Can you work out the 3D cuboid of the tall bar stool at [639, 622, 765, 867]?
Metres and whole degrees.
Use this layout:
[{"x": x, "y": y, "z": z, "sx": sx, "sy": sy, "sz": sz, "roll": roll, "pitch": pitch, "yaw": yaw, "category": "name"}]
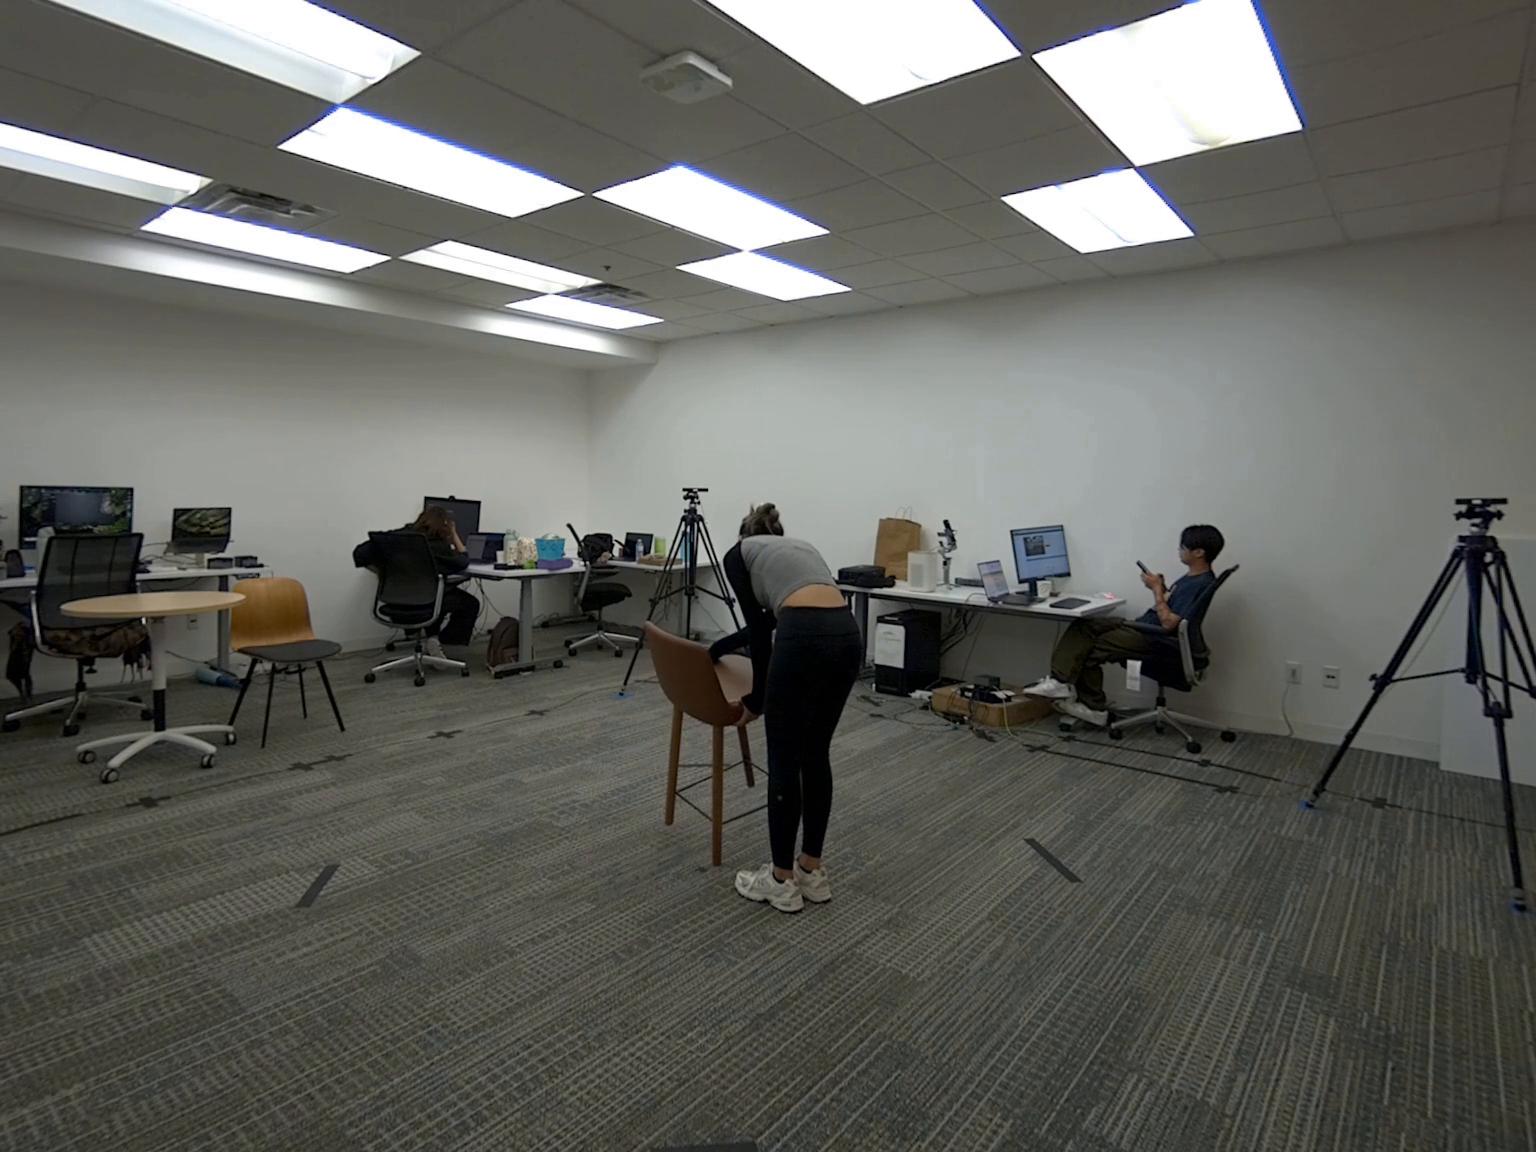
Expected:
[{"x": -0.170, "y": 0.570, "z": 3.302, "sx": 0.457, "sy": 0.877, "sz": 0.473, "roll": -14, "pitch": 17, "yaw": -34, "category": "tall bar stool"}]
